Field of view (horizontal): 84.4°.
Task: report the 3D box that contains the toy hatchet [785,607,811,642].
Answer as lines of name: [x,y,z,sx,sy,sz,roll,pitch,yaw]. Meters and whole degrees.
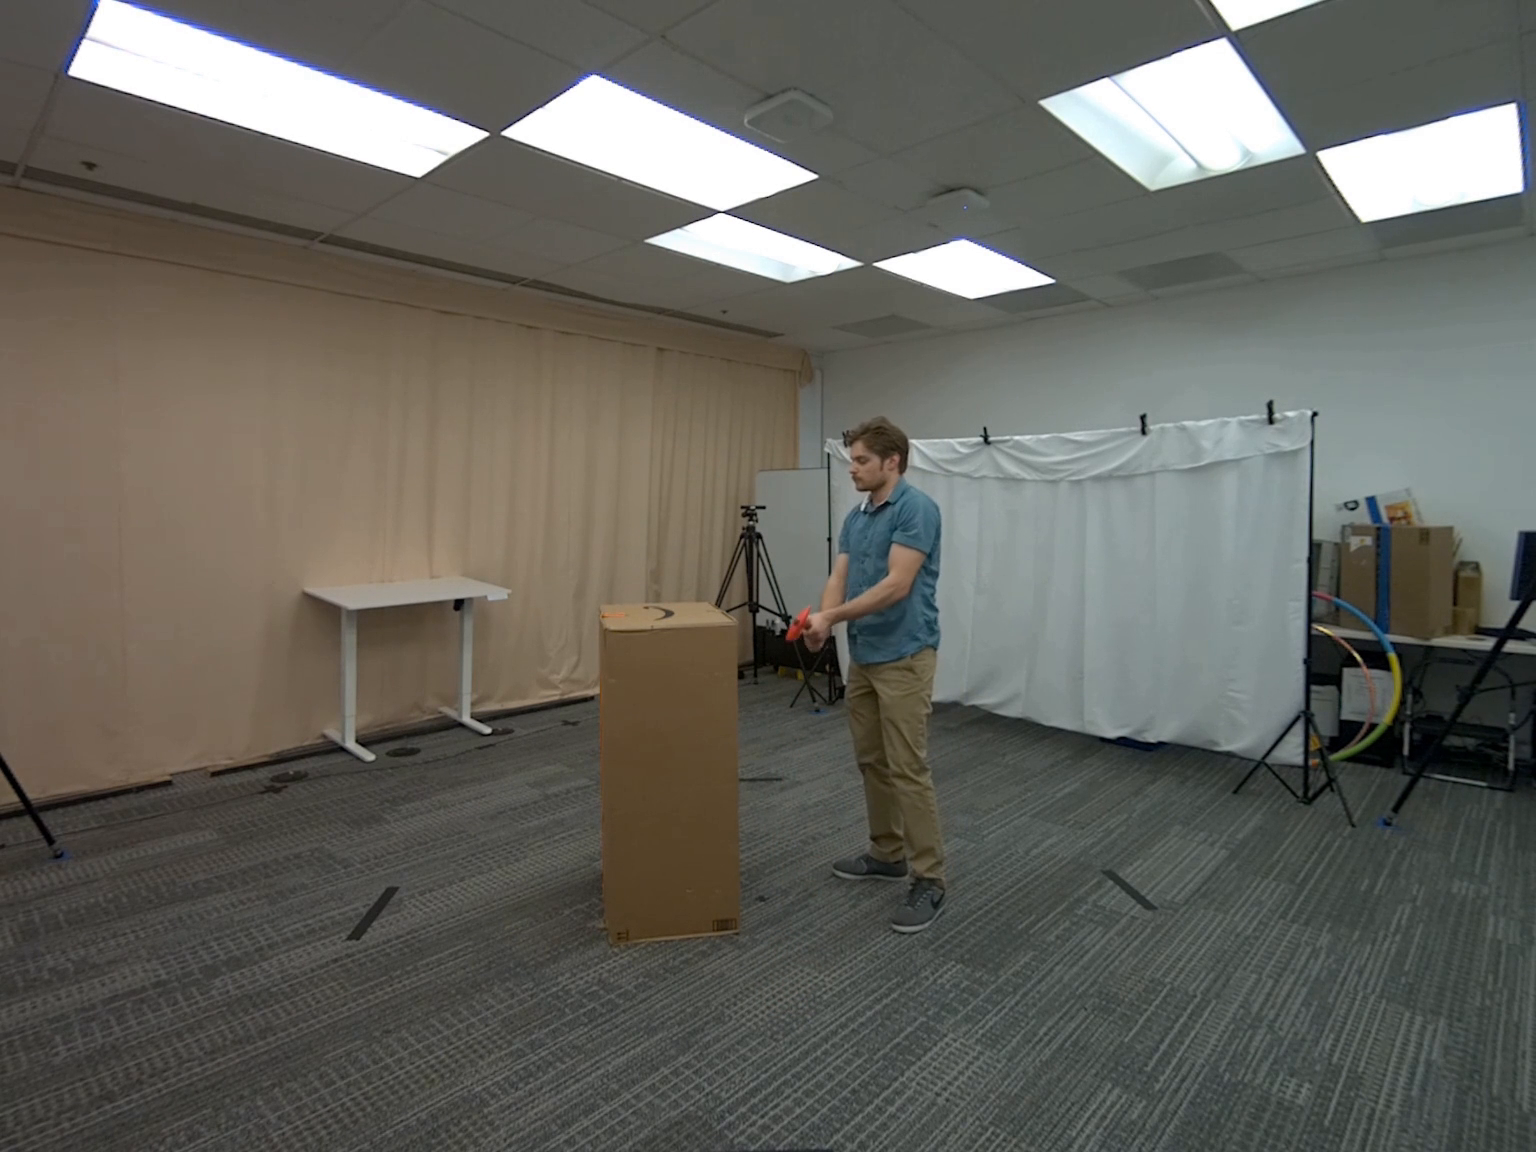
toy hatchet: [0.119,0.187,2.860,0.030,0.130,0.263,33,-18,24]
